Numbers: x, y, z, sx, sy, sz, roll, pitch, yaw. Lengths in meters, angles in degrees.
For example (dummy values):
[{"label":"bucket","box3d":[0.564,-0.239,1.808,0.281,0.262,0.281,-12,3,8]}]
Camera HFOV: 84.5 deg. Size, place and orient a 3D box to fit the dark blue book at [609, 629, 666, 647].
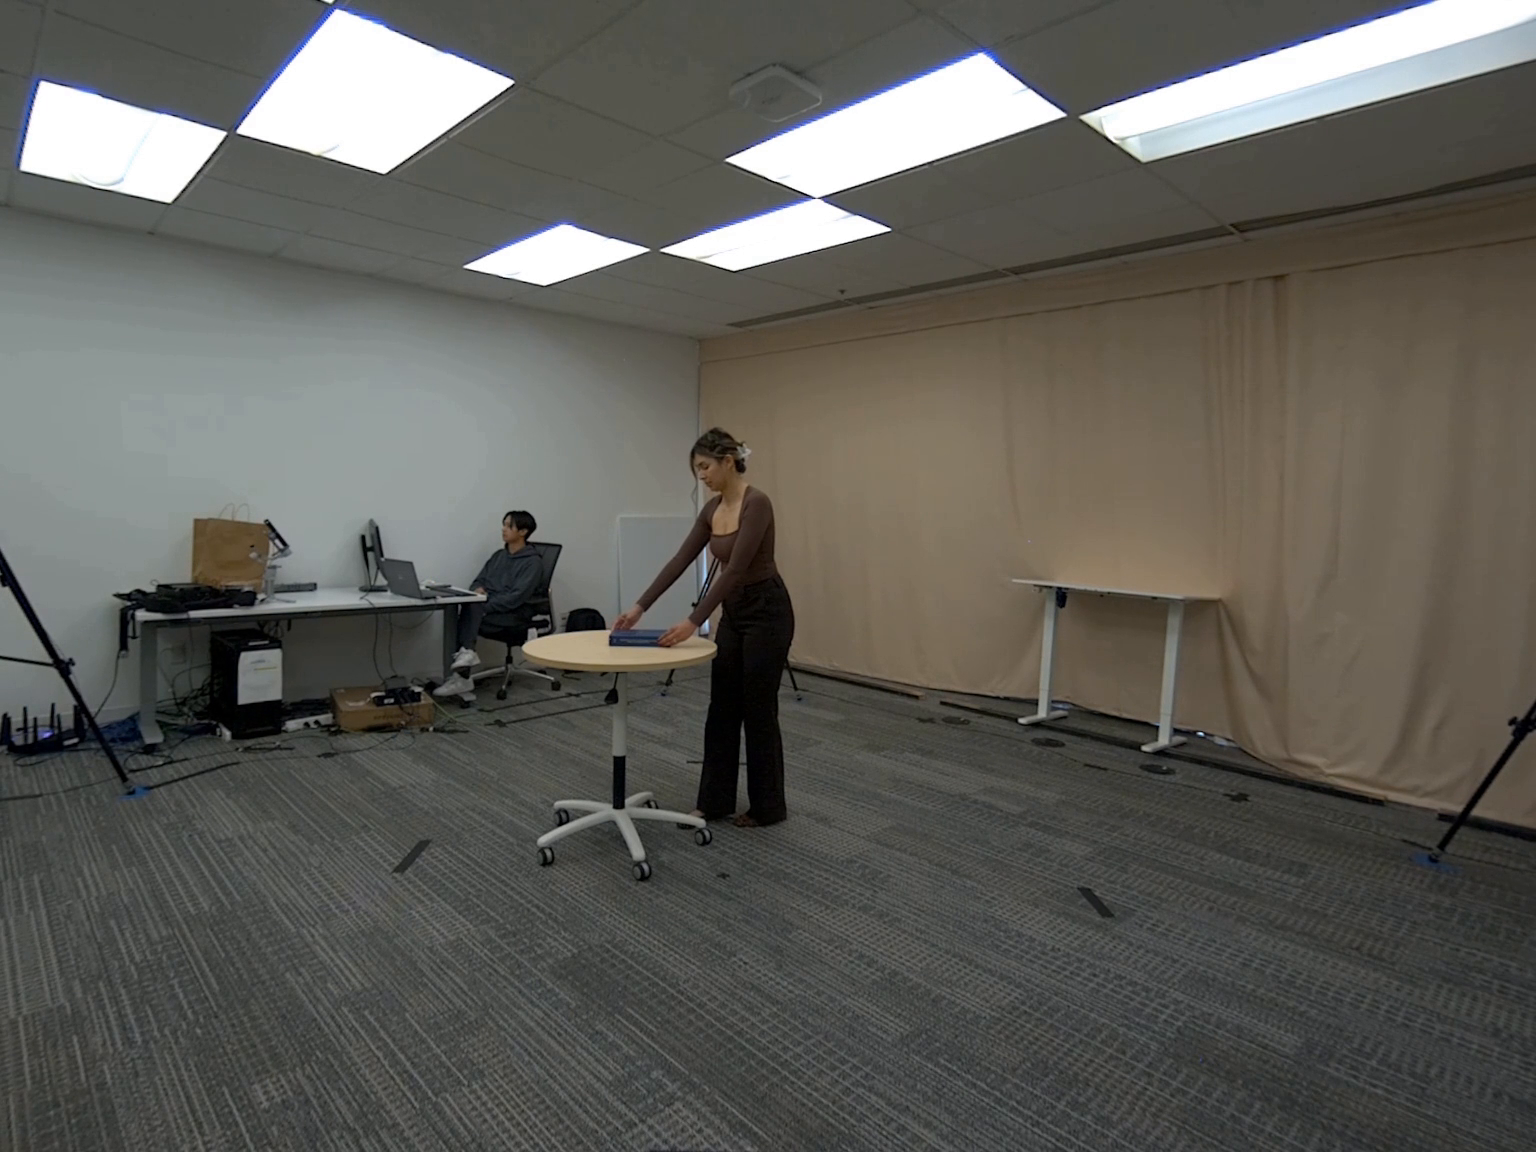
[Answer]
[{"label":"dark blue book","box3d":[-0.527,0.256,3.407,0.245,0.045,0.164,1,5,0]}]
